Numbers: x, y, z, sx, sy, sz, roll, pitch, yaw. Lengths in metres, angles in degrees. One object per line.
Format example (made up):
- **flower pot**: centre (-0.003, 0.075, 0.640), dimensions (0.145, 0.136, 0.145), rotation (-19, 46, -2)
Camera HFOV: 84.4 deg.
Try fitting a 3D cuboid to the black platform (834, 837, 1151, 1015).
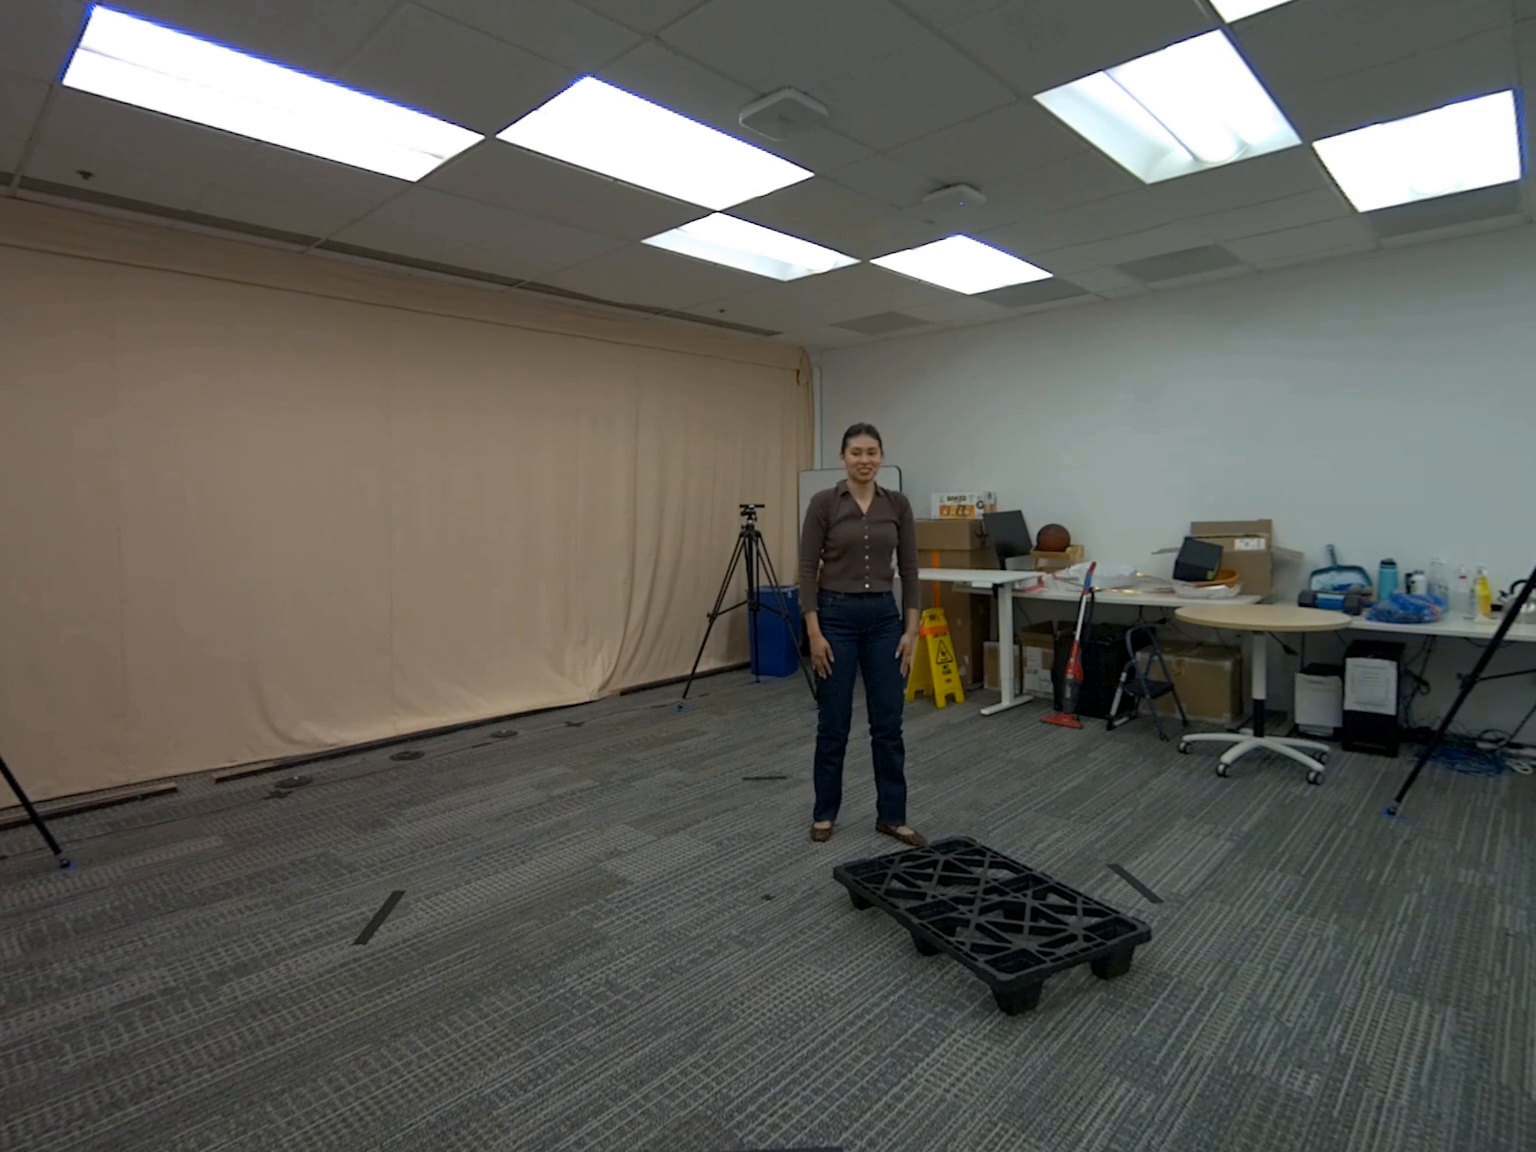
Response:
- **black platform**: centre (0.686, 1.087, 2.695), dimensions (0.590, 0.143, 0.828), rotation (-3, 5, -28)
